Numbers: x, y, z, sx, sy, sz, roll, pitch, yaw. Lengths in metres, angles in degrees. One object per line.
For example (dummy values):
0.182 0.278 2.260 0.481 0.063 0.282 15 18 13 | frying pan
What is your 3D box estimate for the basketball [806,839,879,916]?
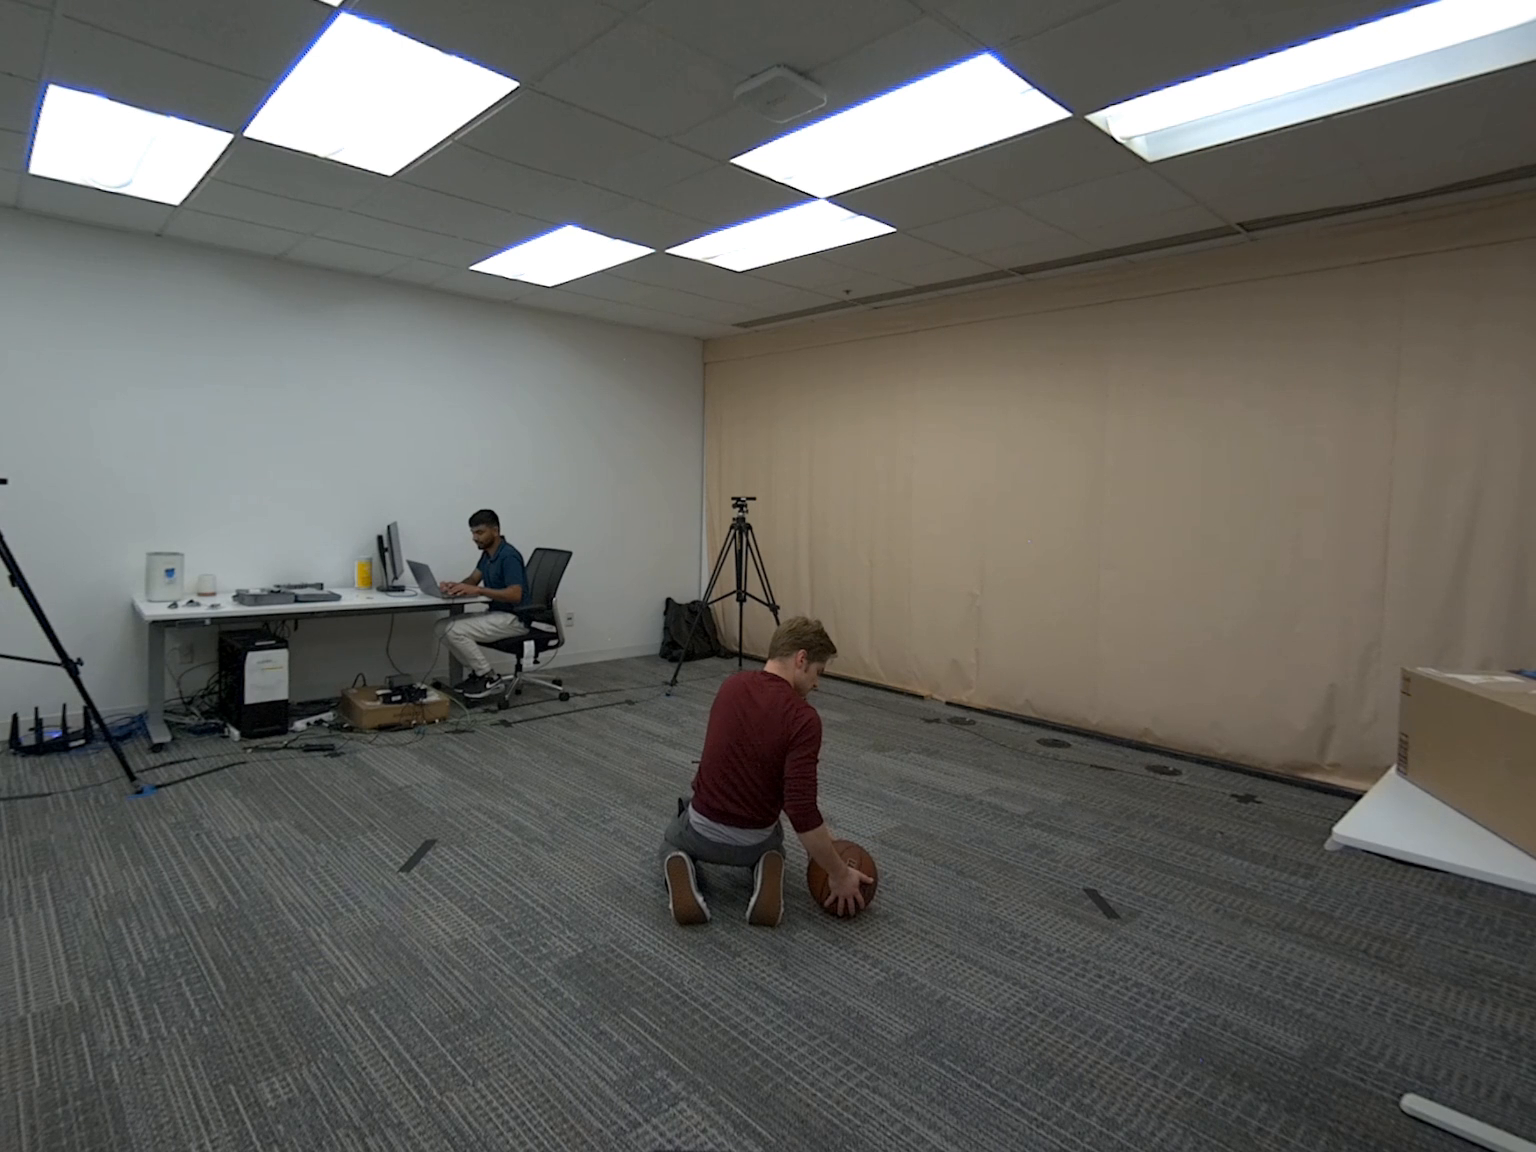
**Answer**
0.246 1.018 2.859 0.236 0.235 0.237 1 4 -1 | basketball
